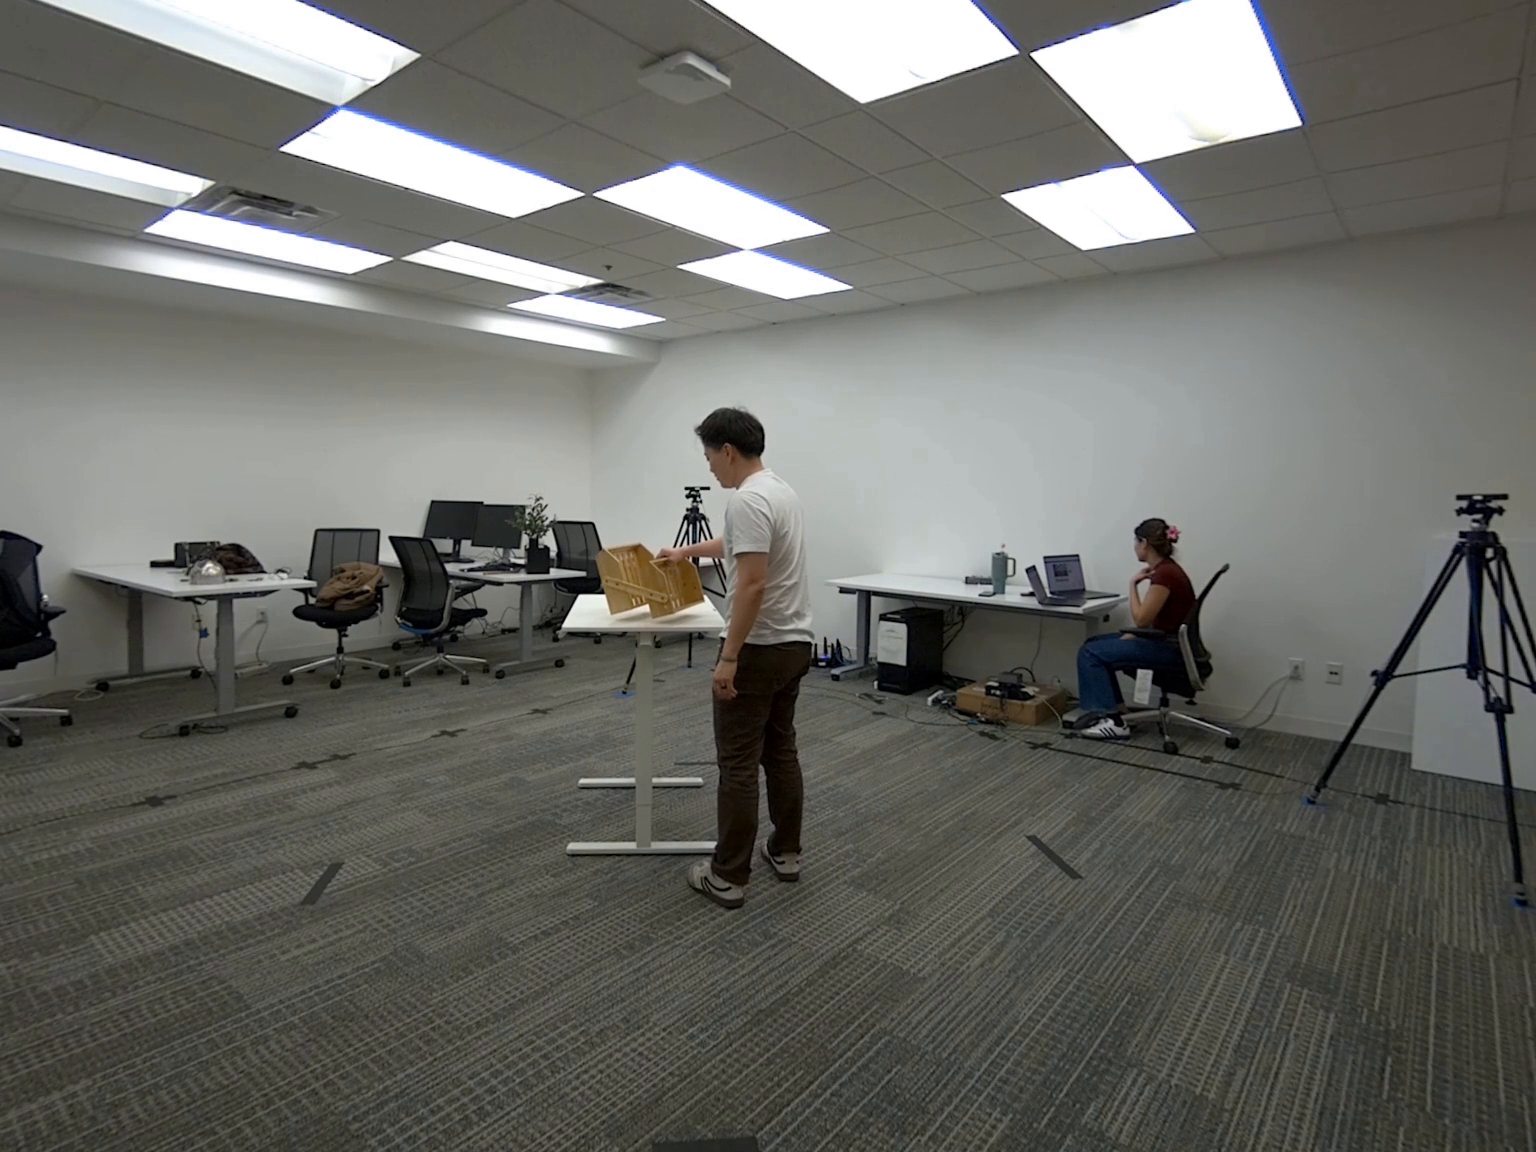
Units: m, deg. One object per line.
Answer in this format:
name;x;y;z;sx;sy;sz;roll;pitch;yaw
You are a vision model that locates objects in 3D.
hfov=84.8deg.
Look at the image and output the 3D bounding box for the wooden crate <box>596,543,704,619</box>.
wooden crate;-0.463;0.001;3.313;0.277;0.302;0.319;-15;1;20
